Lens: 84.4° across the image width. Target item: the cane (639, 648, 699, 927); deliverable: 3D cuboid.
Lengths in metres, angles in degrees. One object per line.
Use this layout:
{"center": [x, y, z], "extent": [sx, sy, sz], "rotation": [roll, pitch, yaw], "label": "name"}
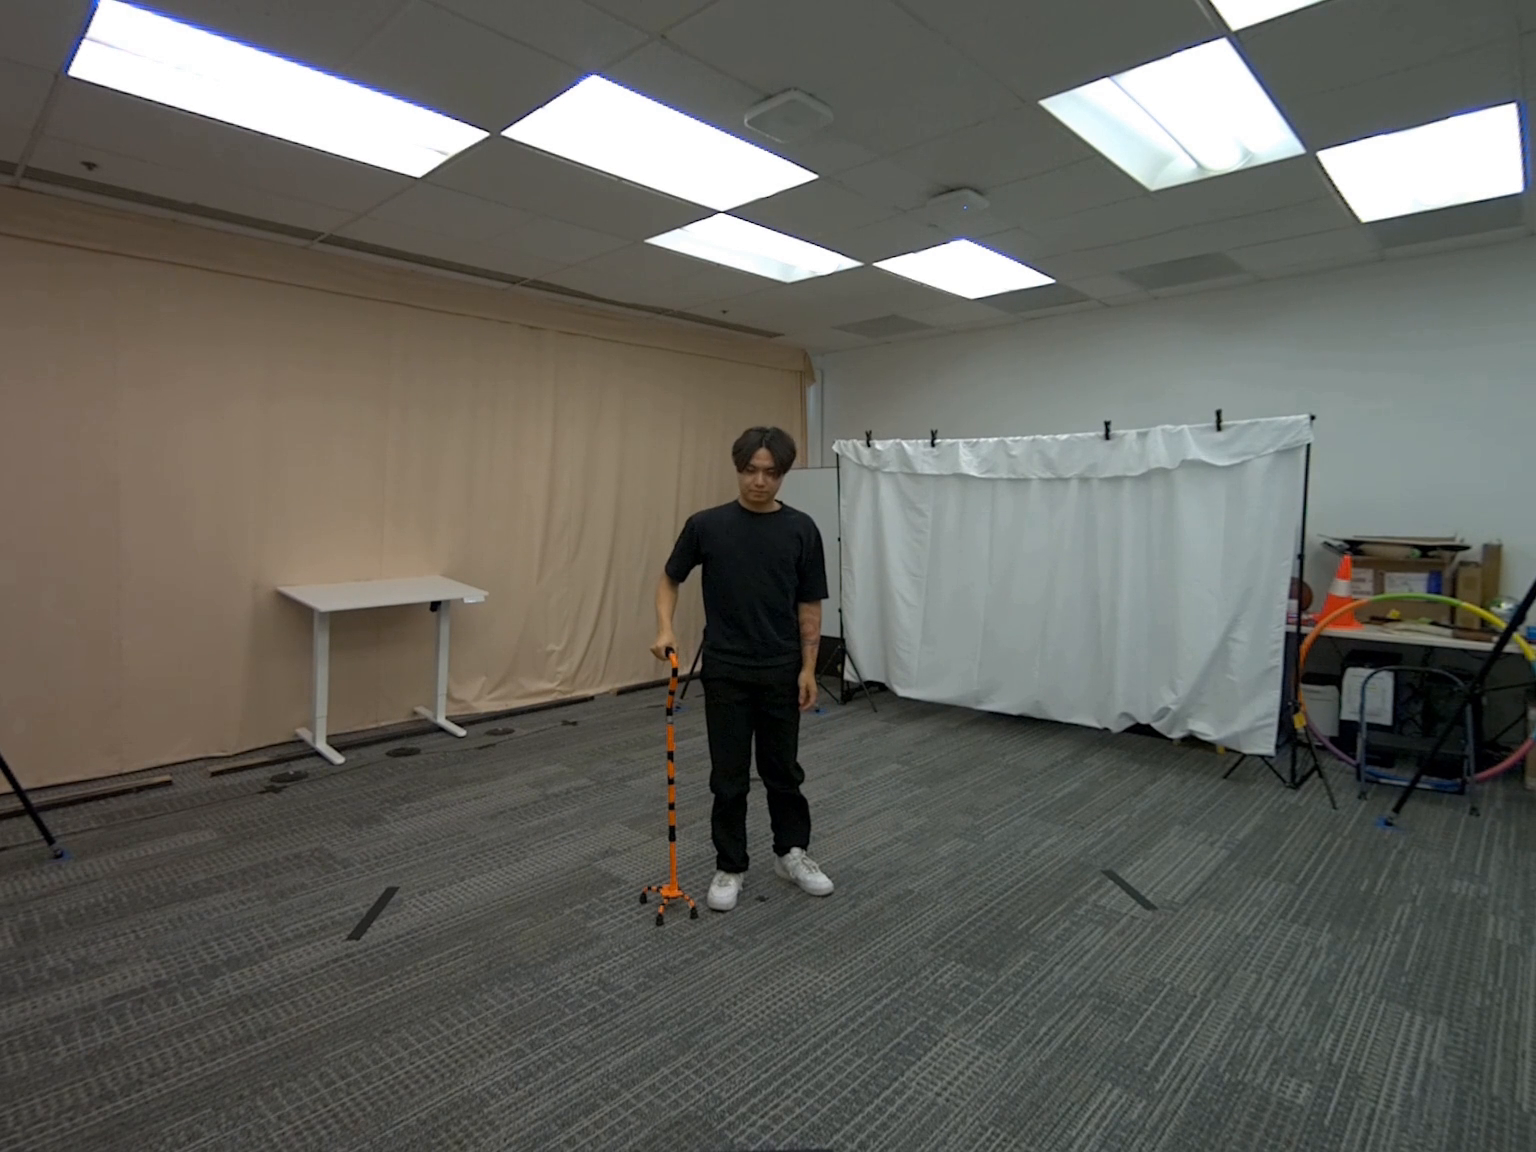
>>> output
{"center": [-0.345, 0.701, 2.888], "extent": [0.148, 0.906, 0.212], "rotation": [-1, 3, -27], "label": "cane"}
